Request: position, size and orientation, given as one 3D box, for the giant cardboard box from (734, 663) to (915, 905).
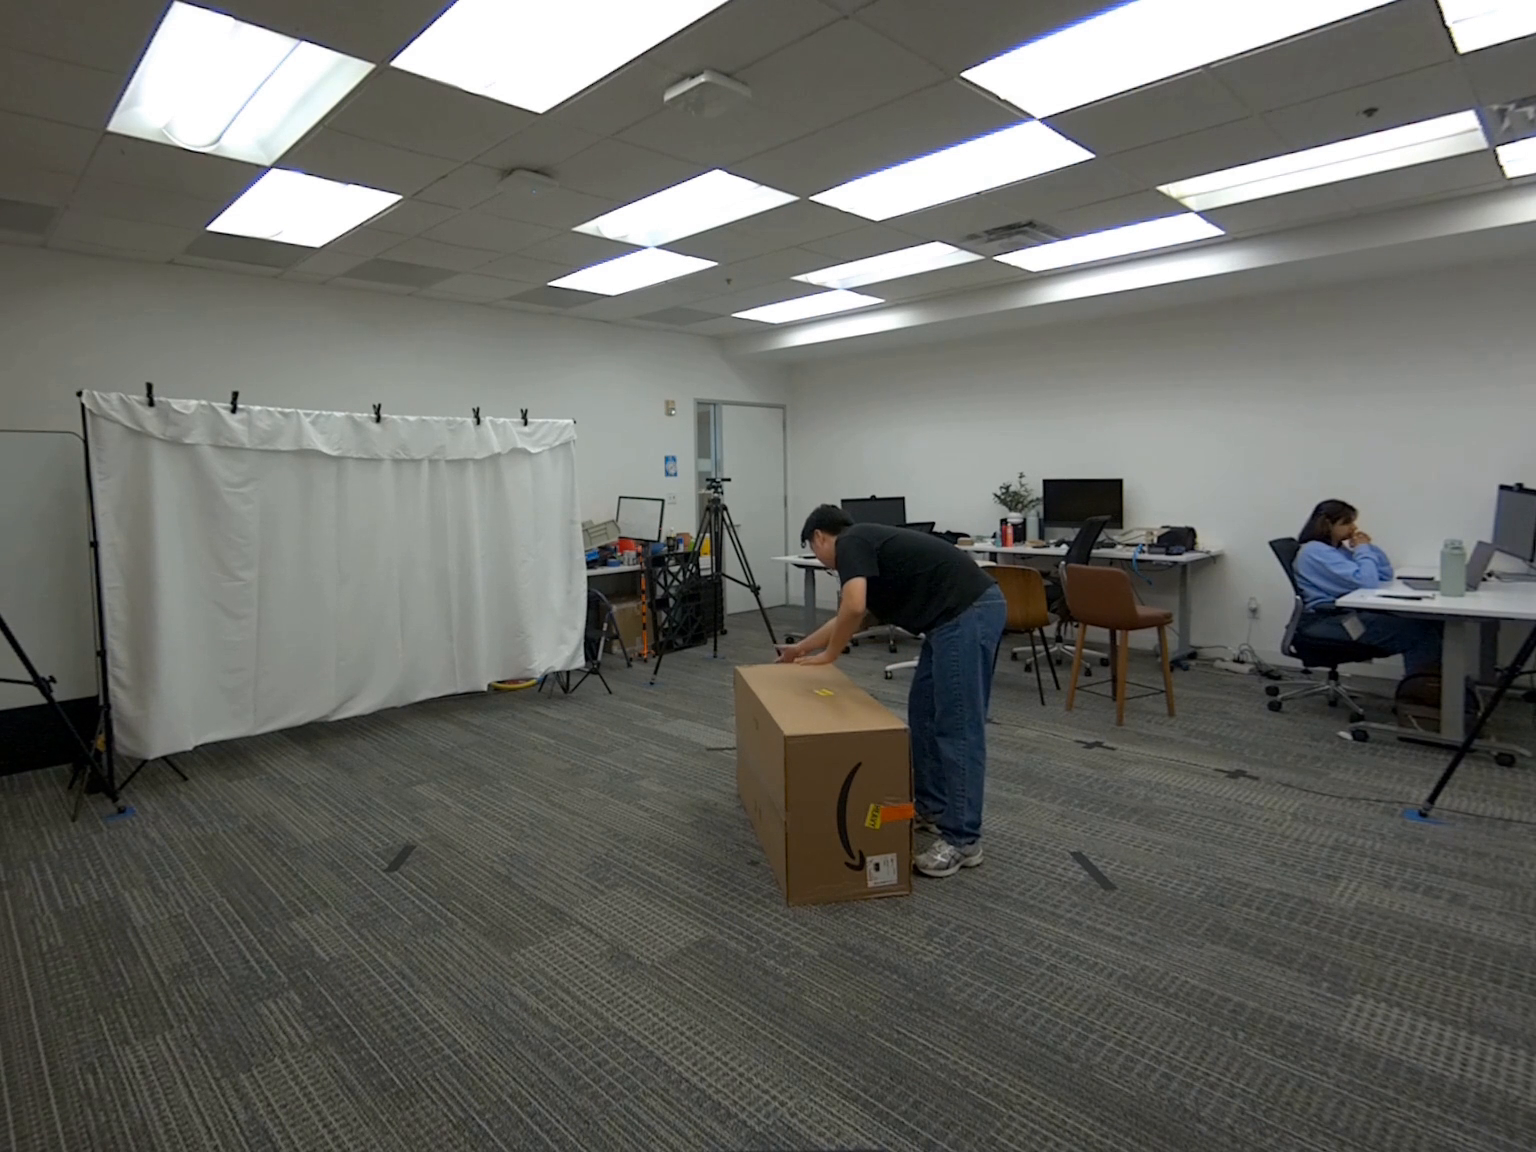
[{"bbox_3d":[0.171,0.729,3.295,0.442,0.581,1.042,-1,6,-11],"label":"giant cardboard box"}]
